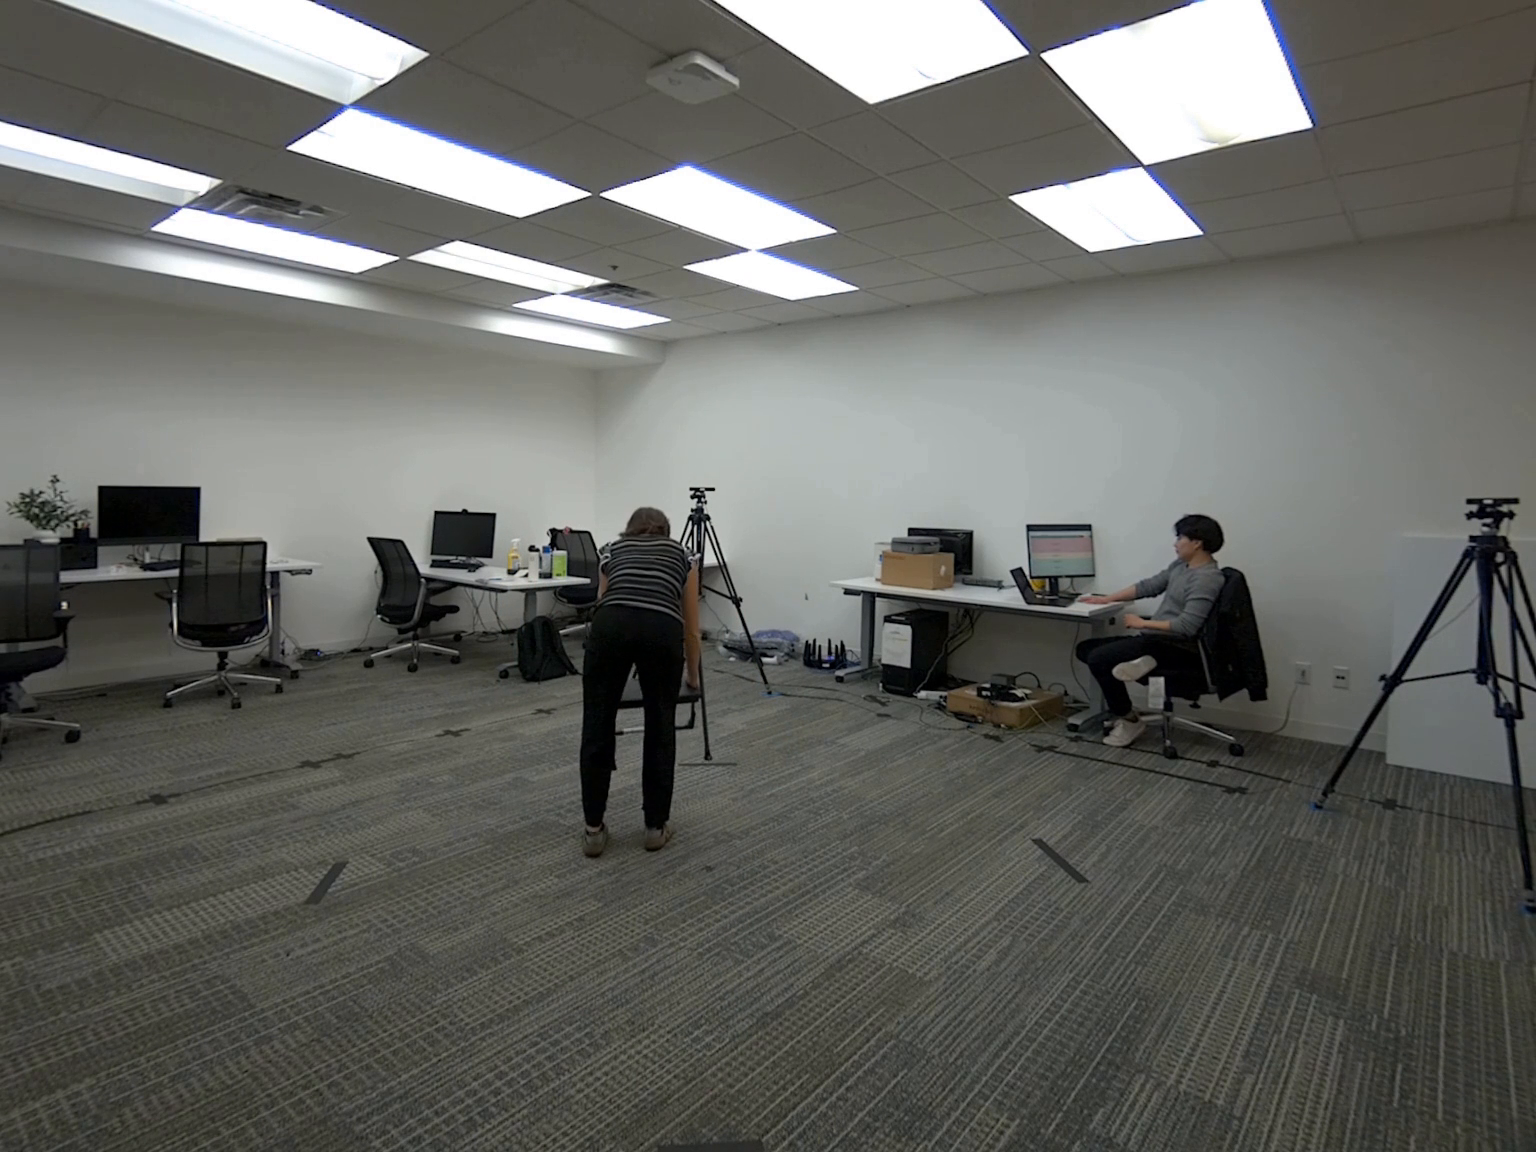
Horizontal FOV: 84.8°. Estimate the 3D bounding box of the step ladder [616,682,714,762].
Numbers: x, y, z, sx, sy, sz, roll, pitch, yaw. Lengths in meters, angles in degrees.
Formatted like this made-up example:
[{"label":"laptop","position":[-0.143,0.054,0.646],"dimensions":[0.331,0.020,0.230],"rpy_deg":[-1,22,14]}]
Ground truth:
[{"label":"step ladder","position":[-0.490,0.438,3.571],"dimensions":[0.424,0.600,0.359],"rpy_deg":[-2,12,-17]}]
